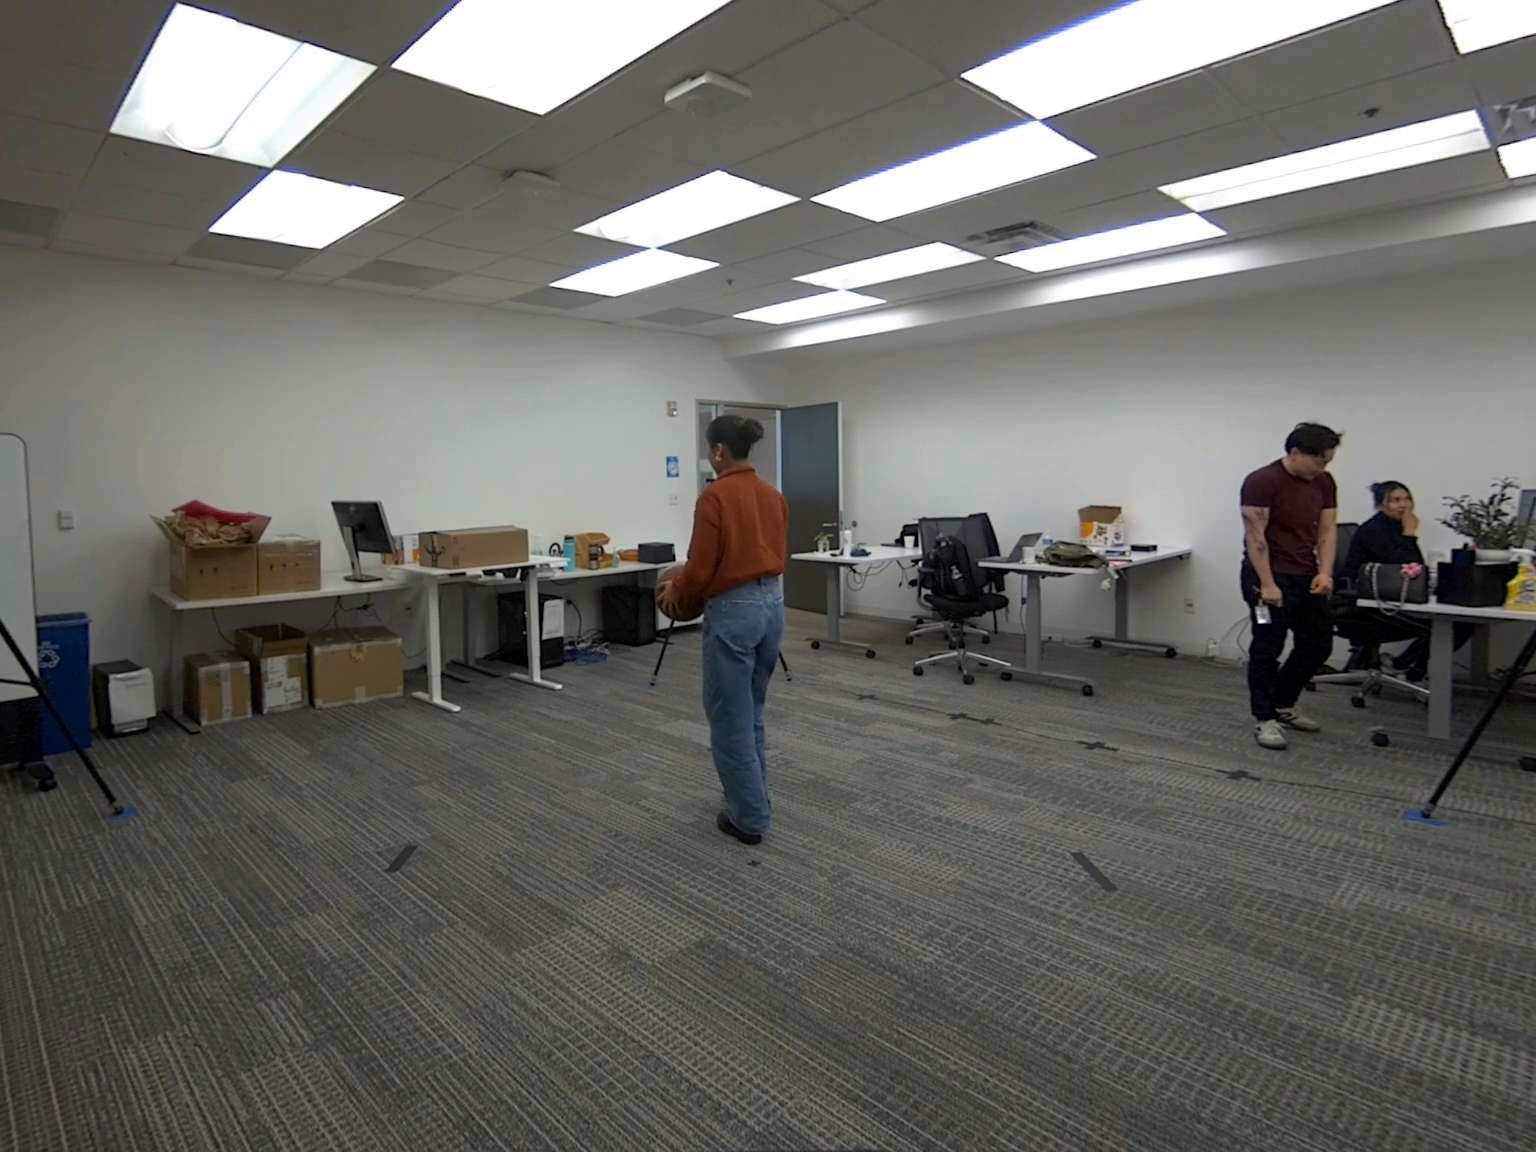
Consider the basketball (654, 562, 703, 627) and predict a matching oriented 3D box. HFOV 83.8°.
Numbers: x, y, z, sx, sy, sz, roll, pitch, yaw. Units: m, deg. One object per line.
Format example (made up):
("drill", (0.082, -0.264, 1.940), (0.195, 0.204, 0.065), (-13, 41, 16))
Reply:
("basketball", (-0.341, 0.070, 3.540), (0.236, 0.235, 0.237), (-1, 5, -2))
